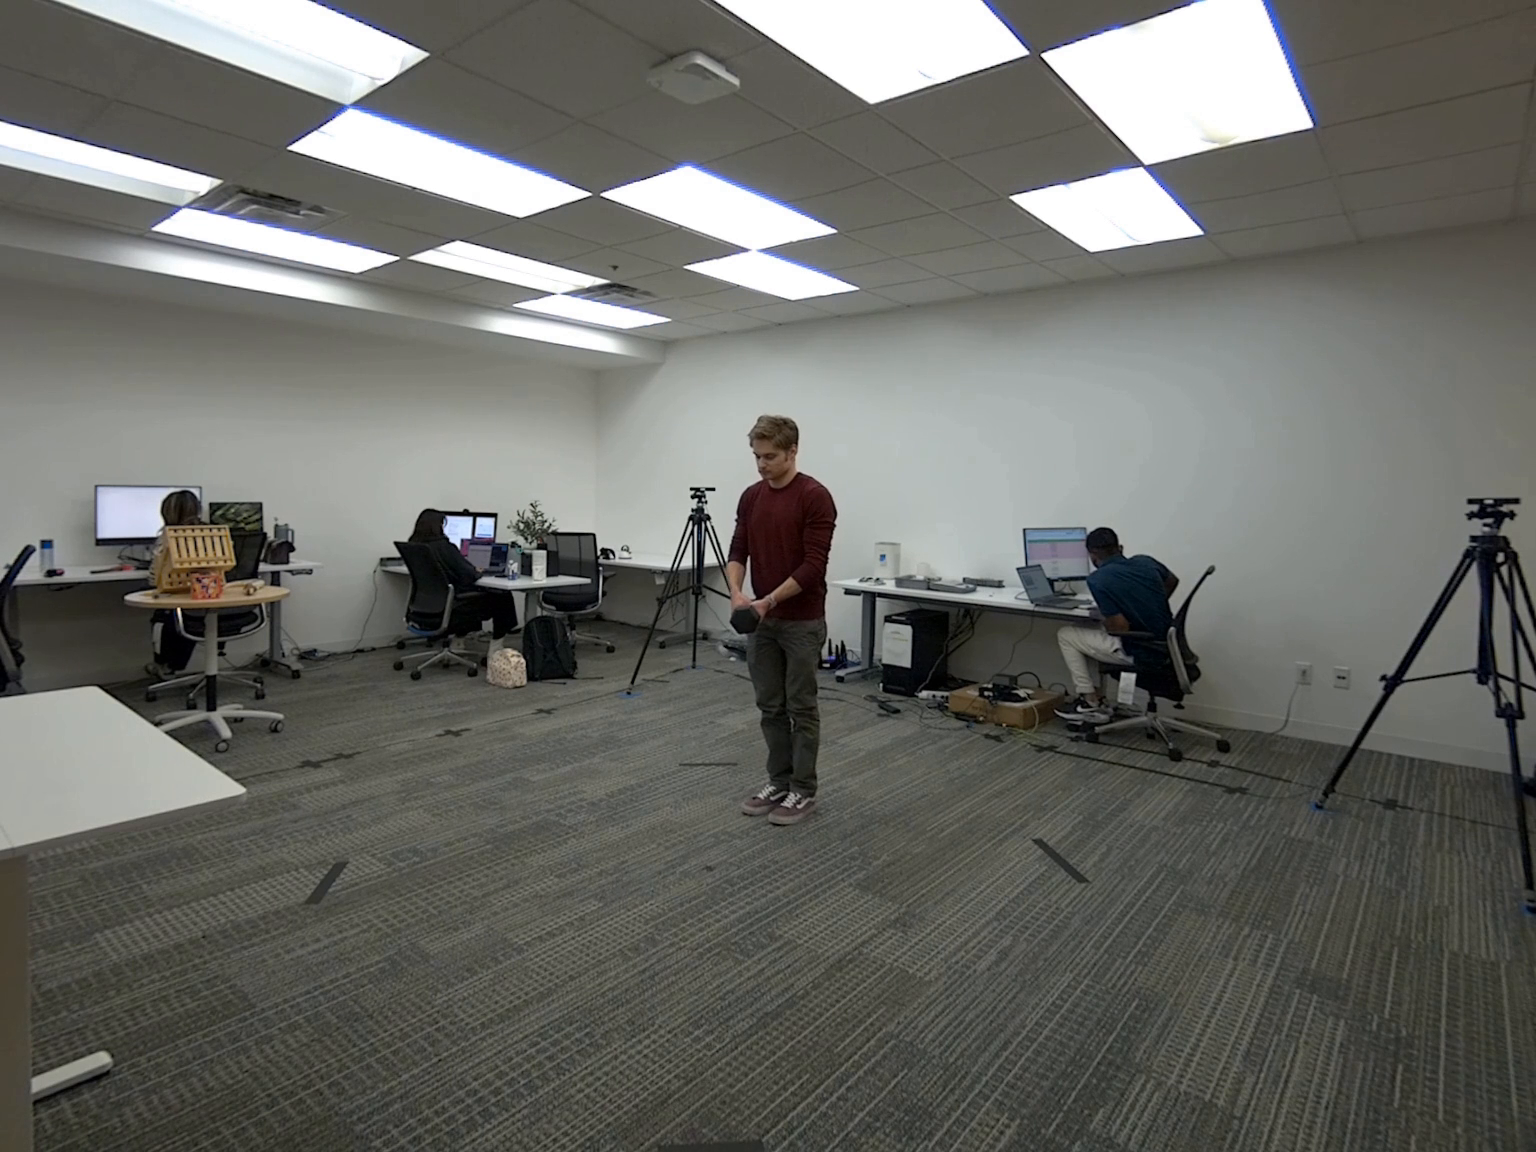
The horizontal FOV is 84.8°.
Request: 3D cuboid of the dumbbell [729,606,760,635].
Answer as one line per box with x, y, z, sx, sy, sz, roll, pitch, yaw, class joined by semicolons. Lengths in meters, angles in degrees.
-0.081;0.158;3.500;0.109;0.123;0.292;-39;-1;4;dumbbell
